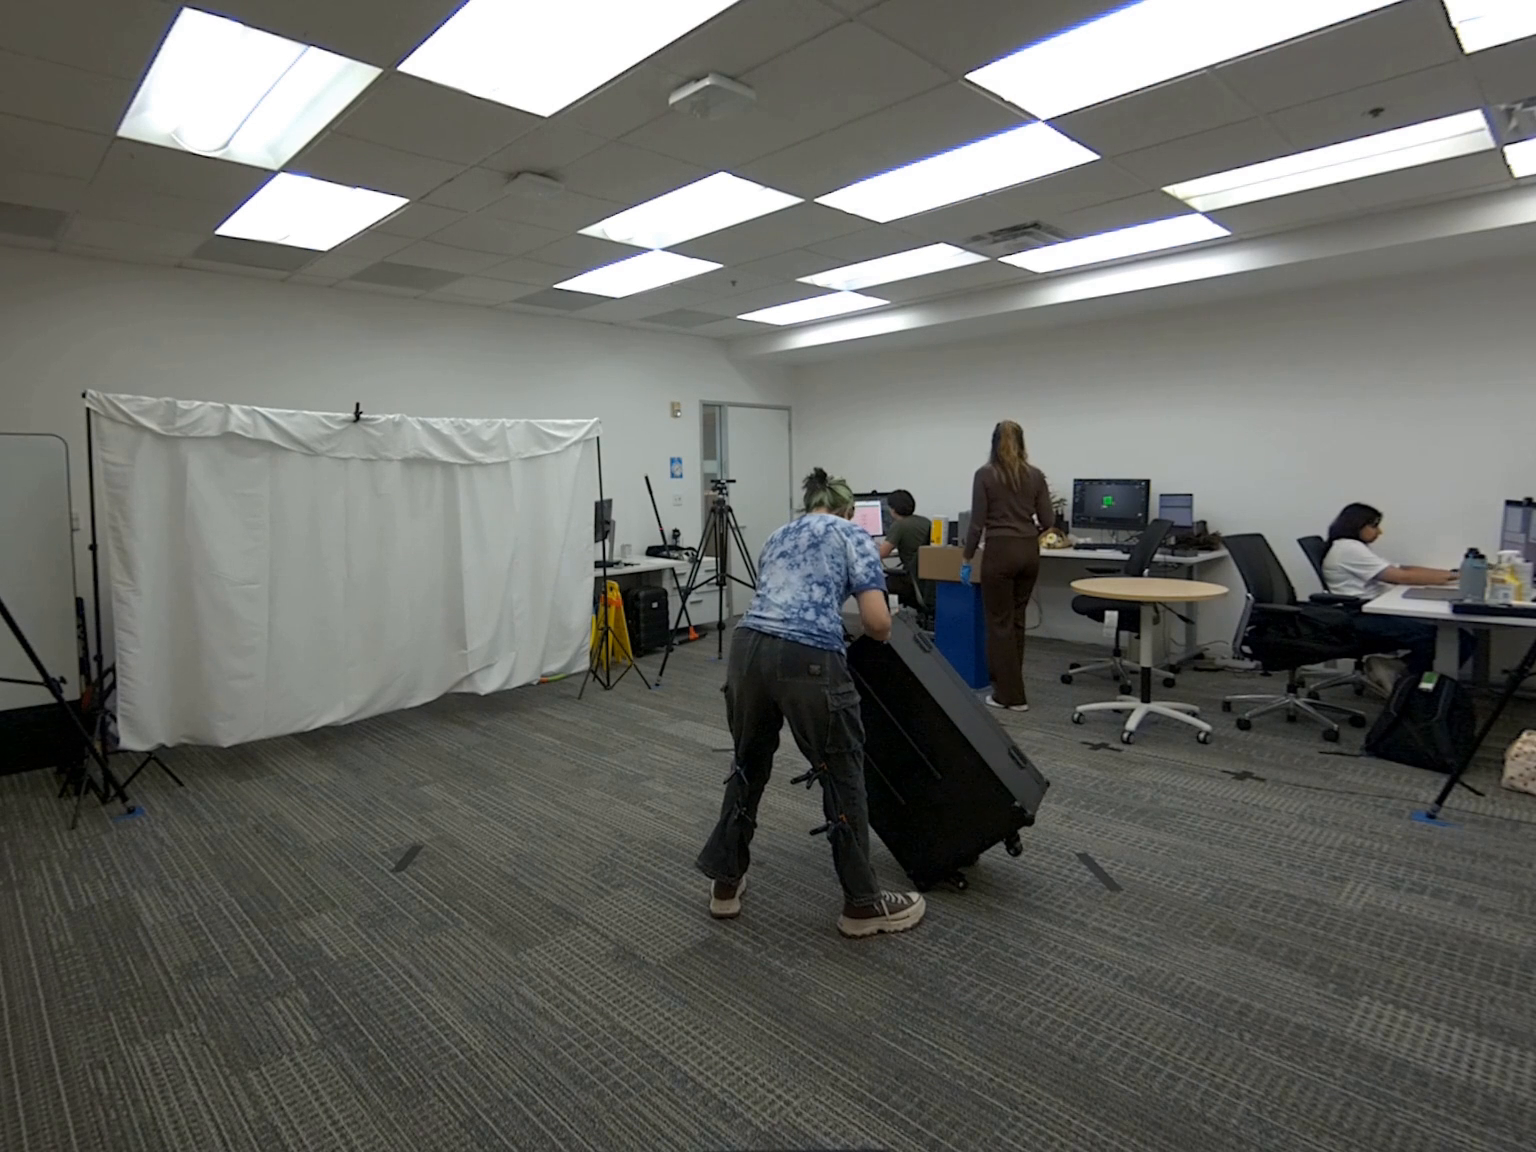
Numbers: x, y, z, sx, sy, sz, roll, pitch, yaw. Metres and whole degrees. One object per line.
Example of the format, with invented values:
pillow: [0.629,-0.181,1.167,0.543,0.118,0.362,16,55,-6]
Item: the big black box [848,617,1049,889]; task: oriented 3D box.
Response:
big black box: [0.534,0.619,3.013,0.522,0.879,0.388,-45,-16,24]
